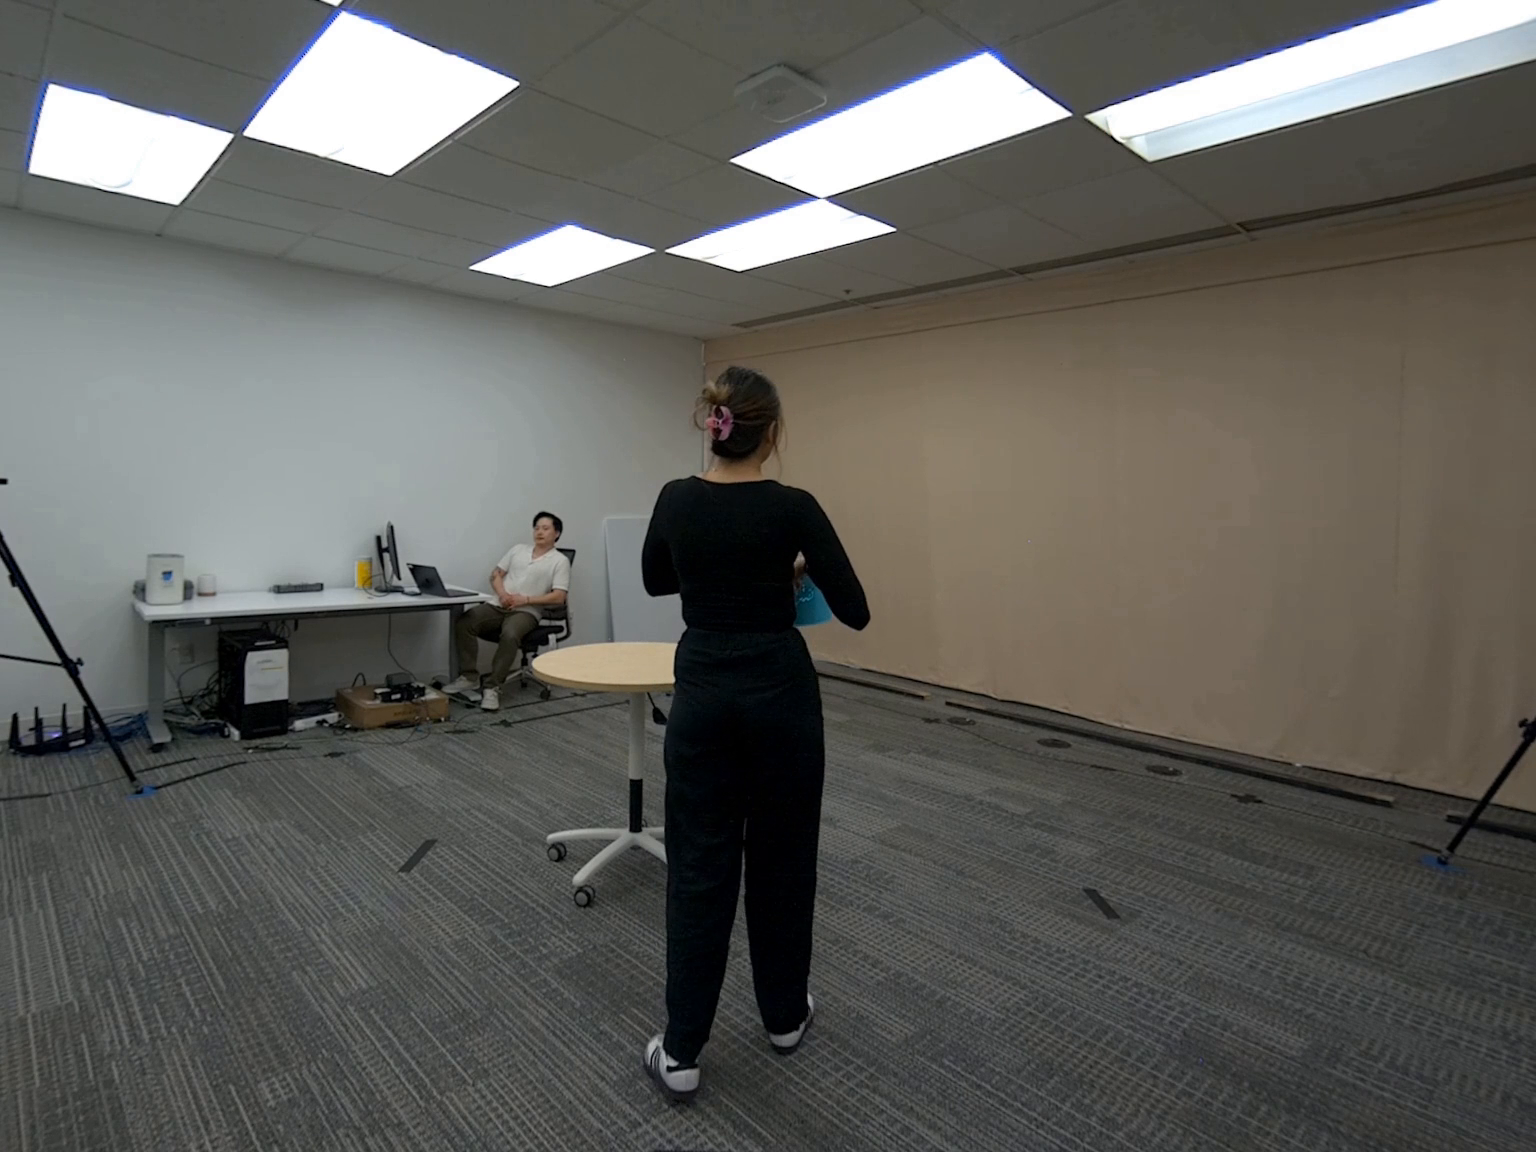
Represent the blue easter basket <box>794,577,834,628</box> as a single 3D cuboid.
[{"bbox_3d":[0.085,0.063,2.383,0.243,0.155,0.244,-3,5,-1],"label":"blue easter basket"}]
